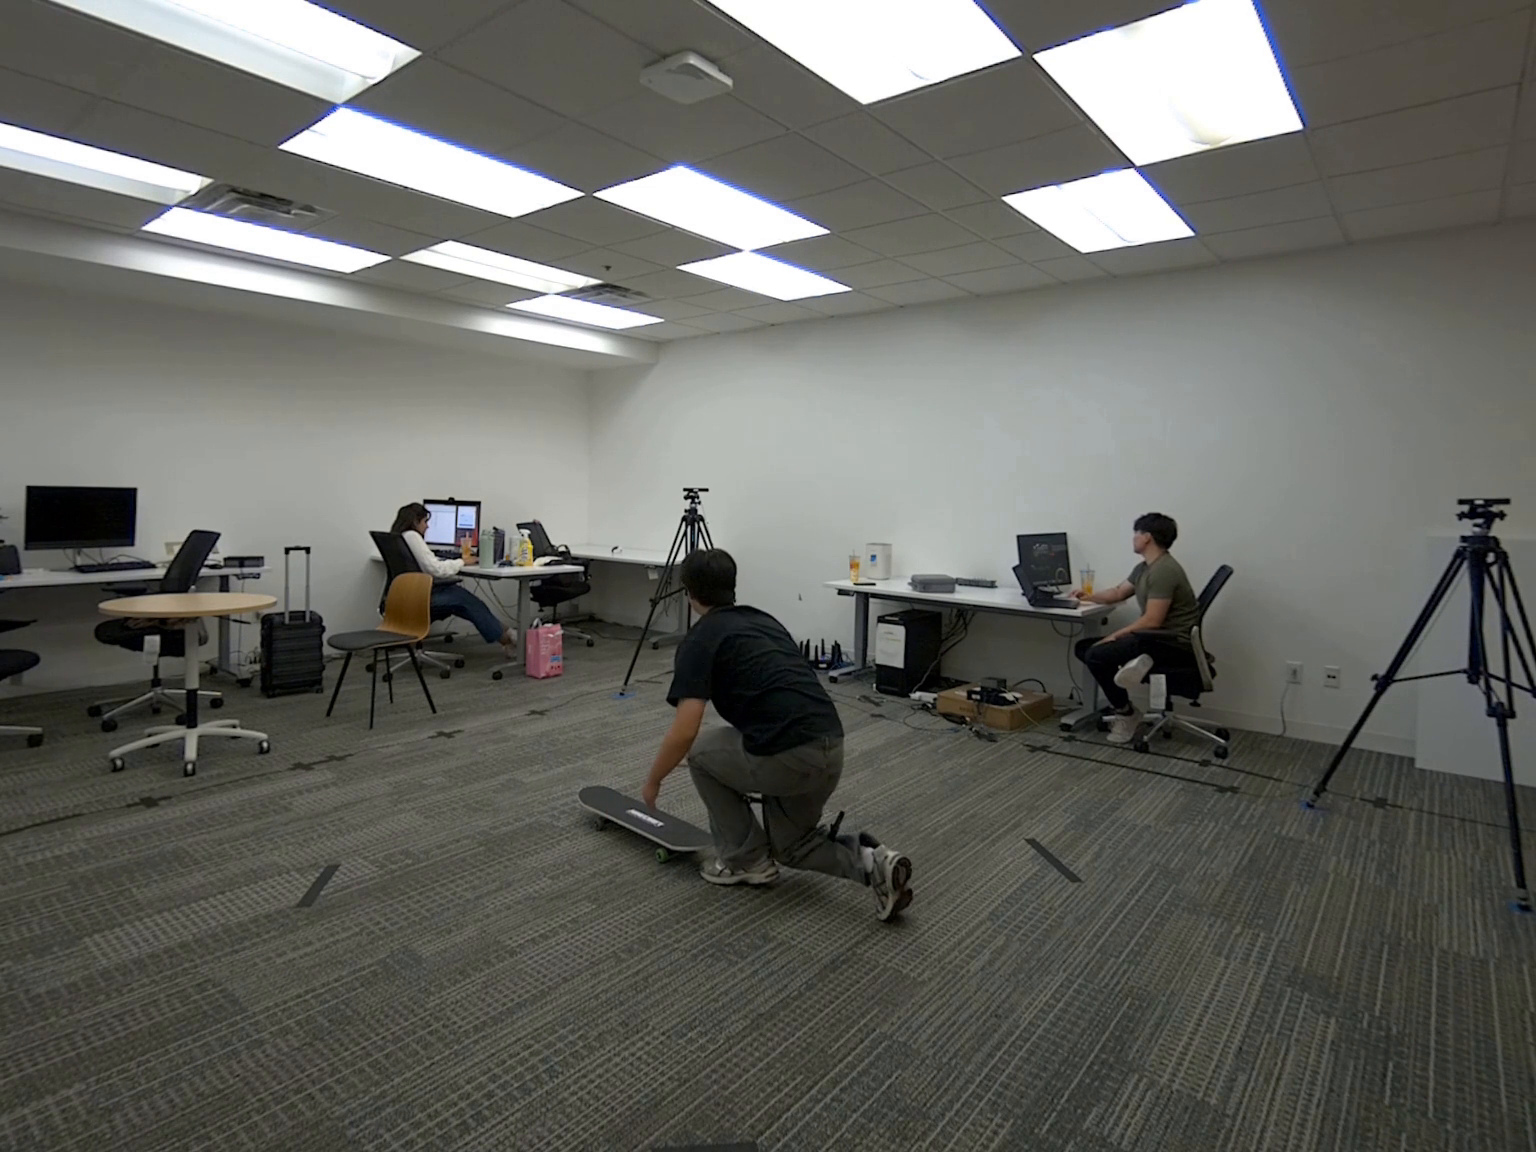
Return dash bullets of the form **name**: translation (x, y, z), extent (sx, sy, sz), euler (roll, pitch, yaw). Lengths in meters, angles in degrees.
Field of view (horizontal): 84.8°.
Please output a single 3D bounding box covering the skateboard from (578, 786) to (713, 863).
- **skateboard**: translation (-0.499, 0.984, 3.357), extent (0.813, 0.110, 0.188), euler (6, 8, 44)
